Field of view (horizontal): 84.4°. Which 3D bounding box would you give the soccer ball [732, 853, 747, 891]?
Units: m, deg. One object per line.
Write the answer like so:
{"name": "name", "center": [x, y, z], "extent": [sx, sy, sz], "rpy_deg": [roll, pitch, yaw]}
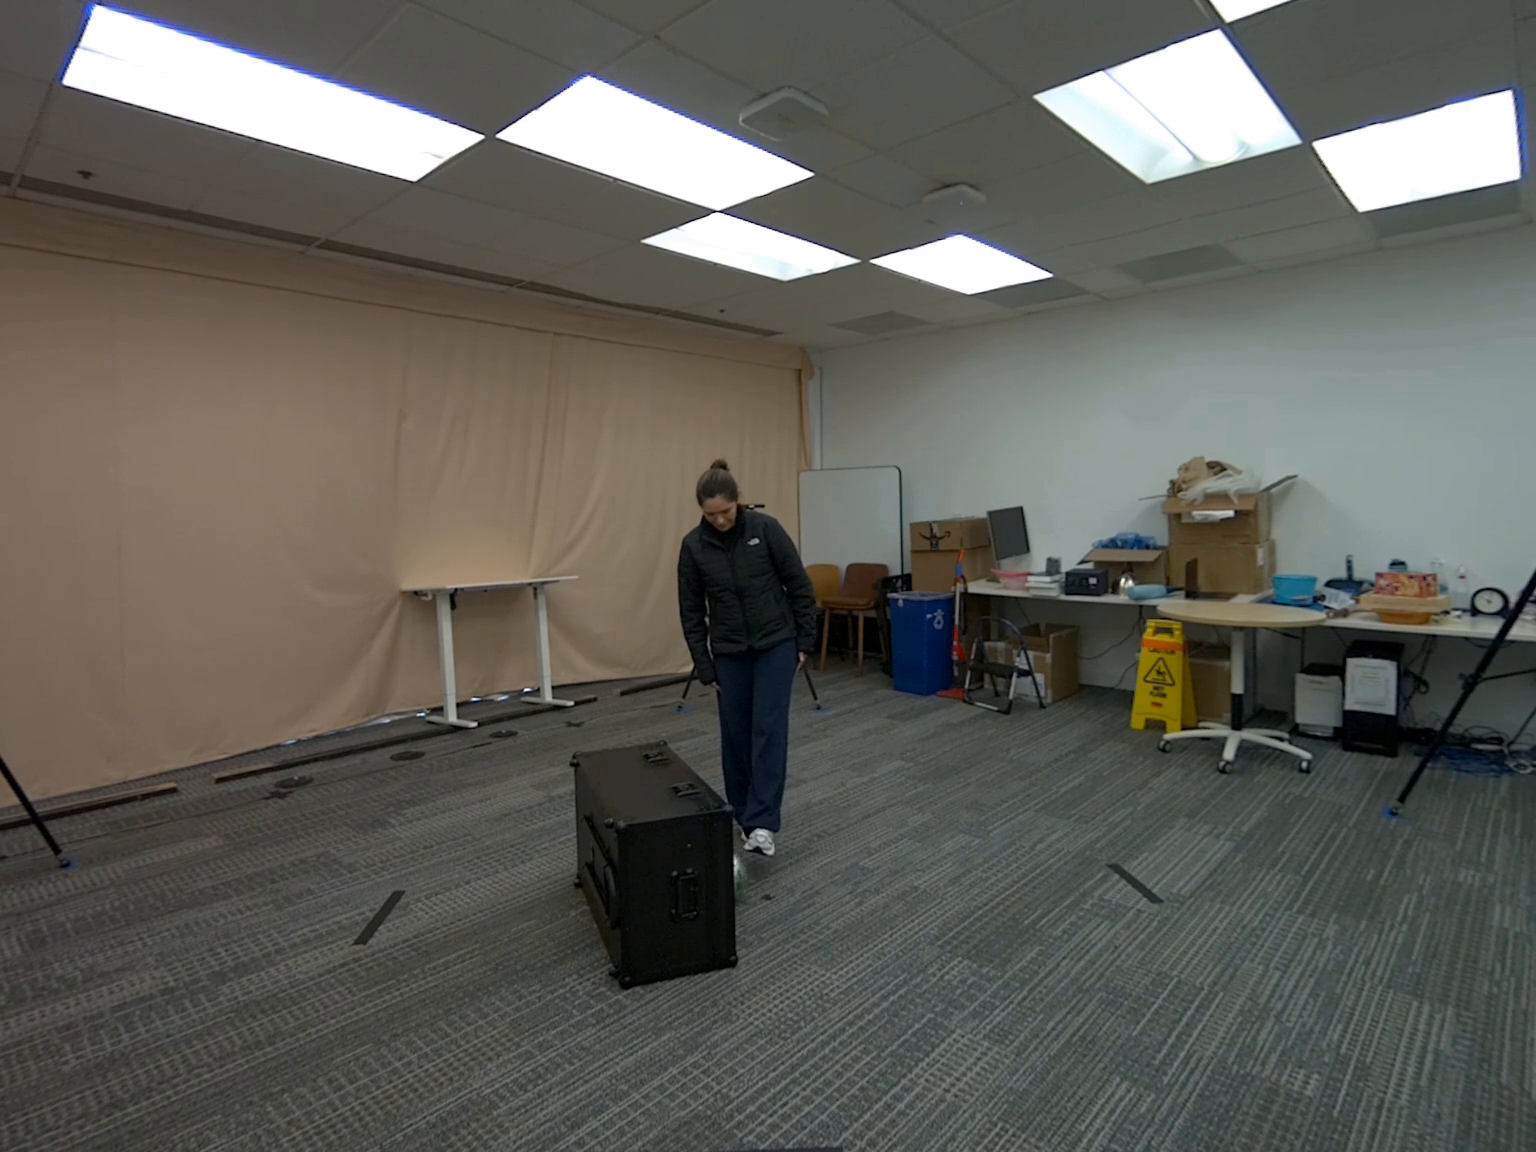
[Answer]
{"name": "soccer ball", "center": [-0.139, 1.043, 2.965], "extent": [0.187, 0.187, 0.188], "rpy_deg": [-1, 4, -2]}
